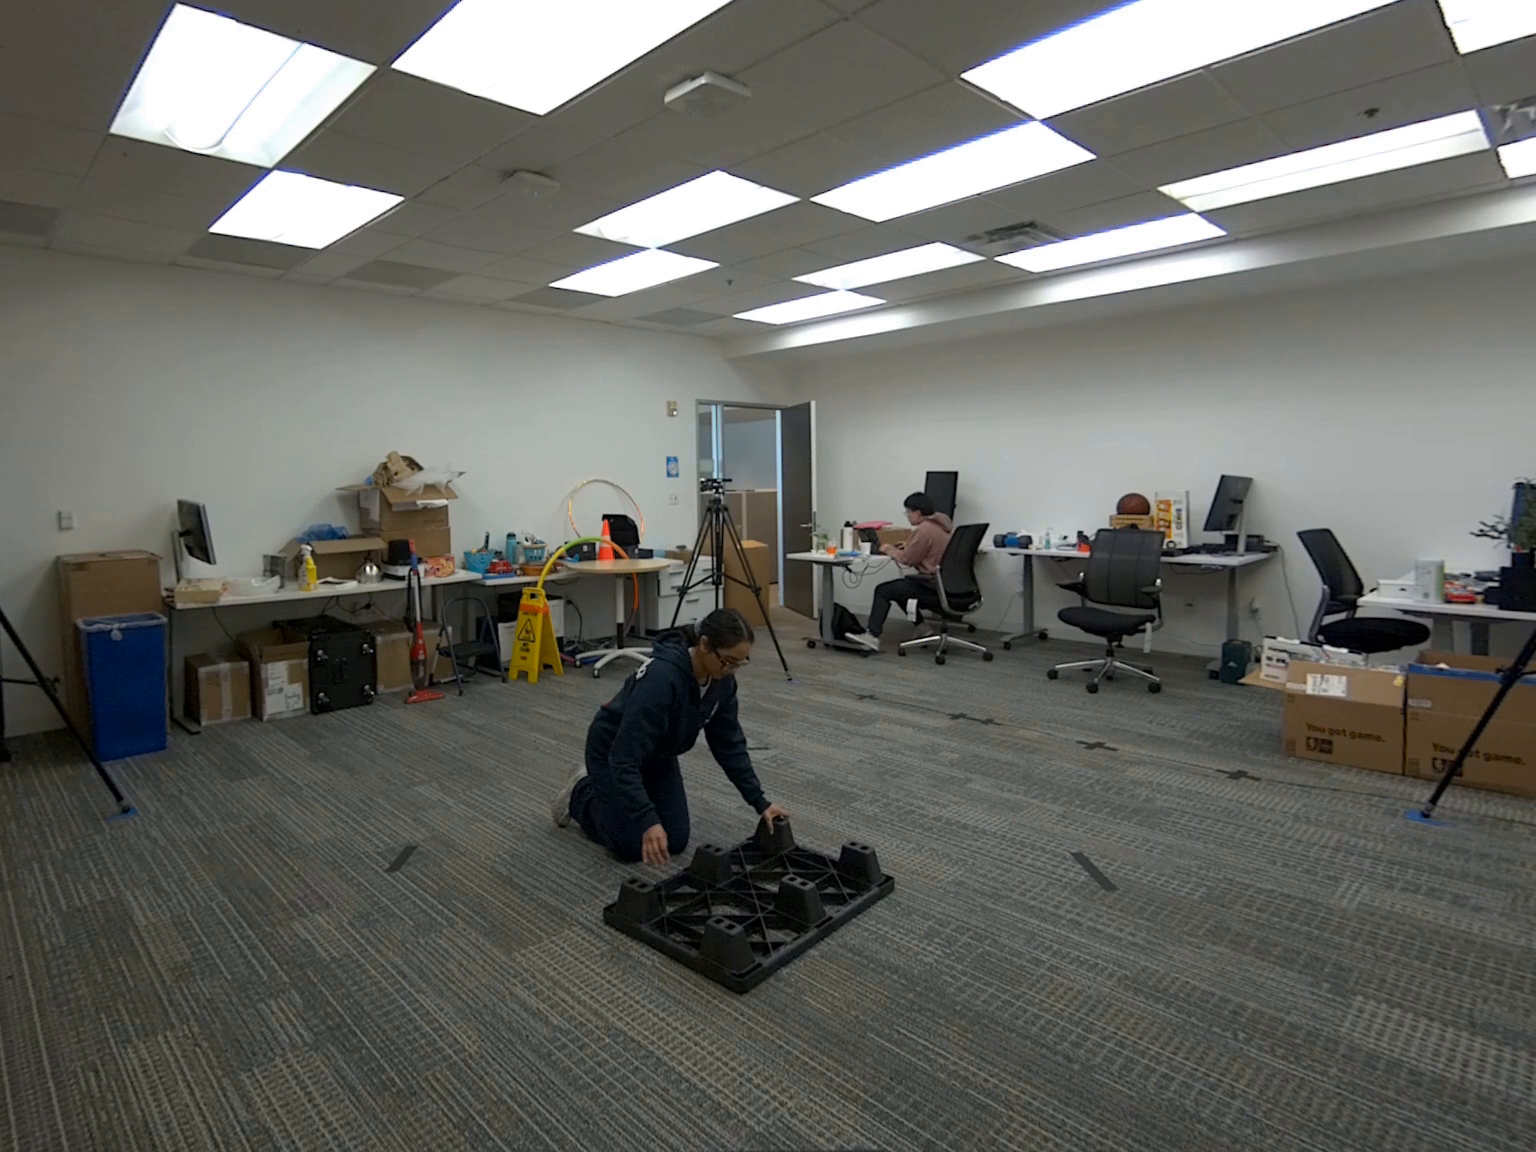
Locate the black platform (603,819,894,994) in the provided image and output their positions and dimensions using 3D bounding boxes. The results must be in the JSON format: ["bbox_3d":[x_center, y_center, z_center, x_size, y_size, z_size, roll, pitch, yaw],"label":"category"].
[{"bbox_3d":[-0.045,1.012,2.802,0.624,0.142,0.785,5,9,41],"label":"black platform"}]
